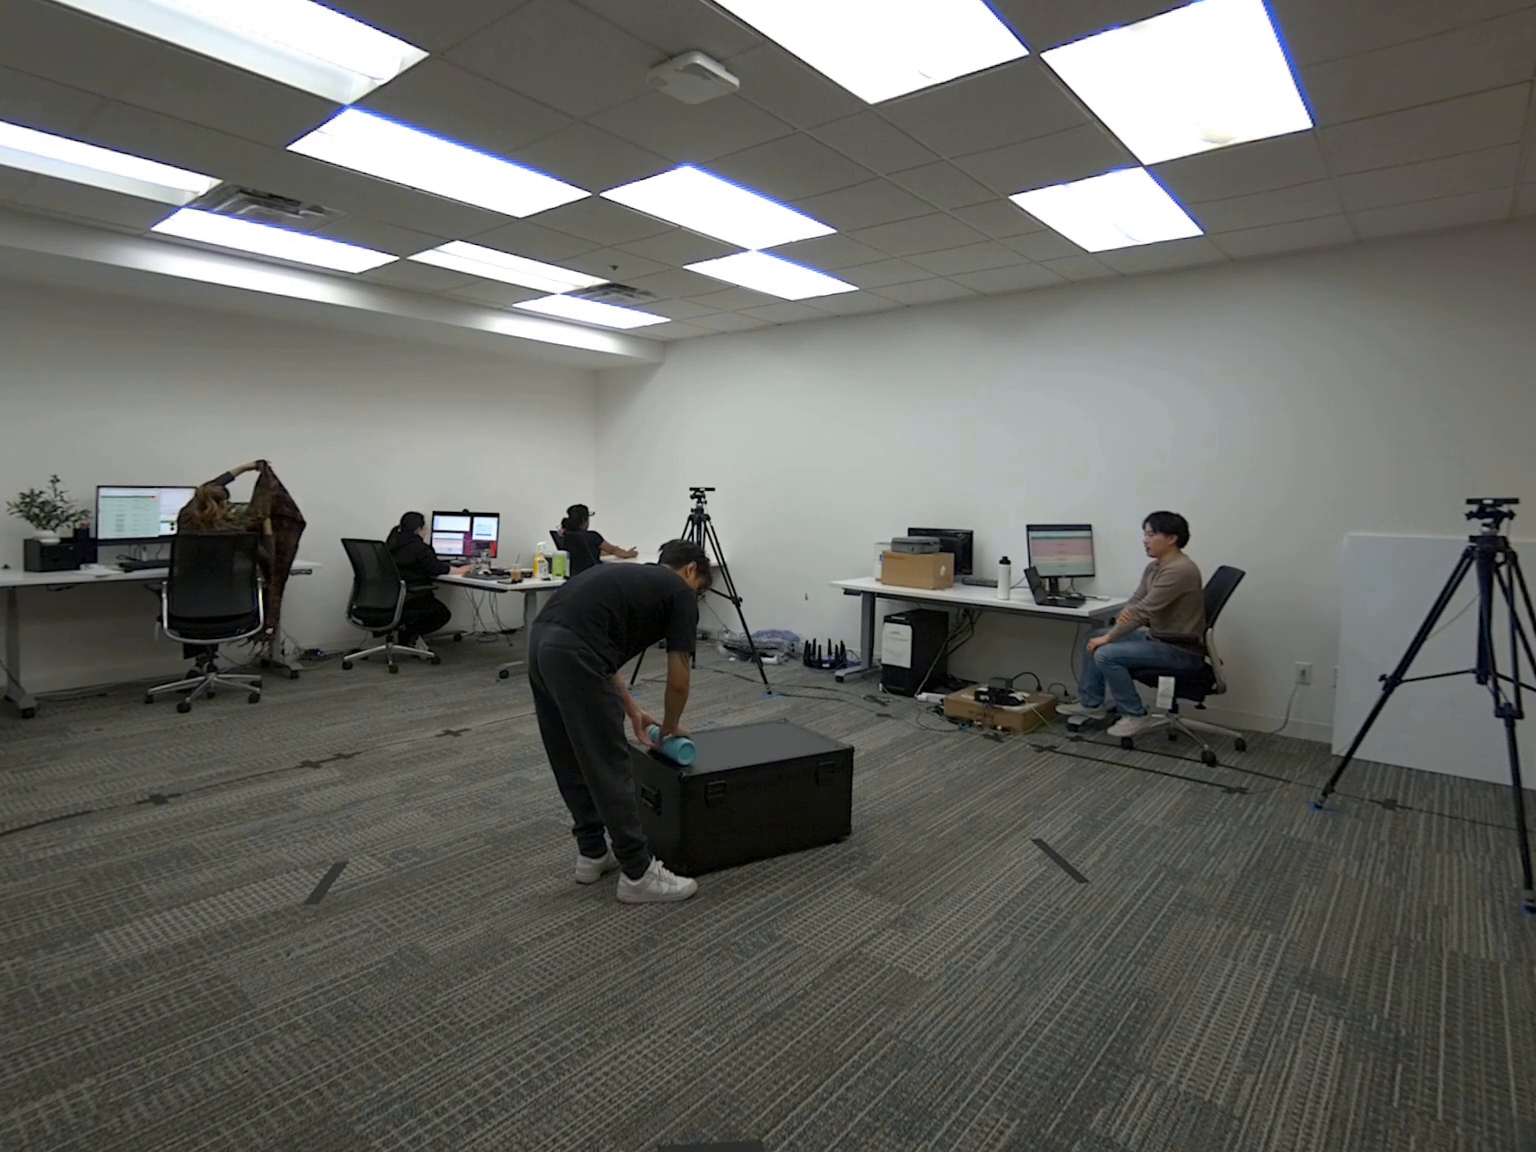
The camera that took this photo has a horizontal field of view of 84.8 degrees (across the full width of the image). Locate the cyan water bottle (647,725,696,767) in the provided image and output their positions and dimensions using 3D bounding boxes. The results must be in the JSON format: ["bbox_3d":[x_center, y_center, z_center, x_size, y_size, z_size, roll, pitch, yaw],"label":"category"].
[{"bbox_3d":[-0.390,0.626,3.220,0.090,0.092,0.293,-2,7,-35],"label":"cyan water bottle"}]
